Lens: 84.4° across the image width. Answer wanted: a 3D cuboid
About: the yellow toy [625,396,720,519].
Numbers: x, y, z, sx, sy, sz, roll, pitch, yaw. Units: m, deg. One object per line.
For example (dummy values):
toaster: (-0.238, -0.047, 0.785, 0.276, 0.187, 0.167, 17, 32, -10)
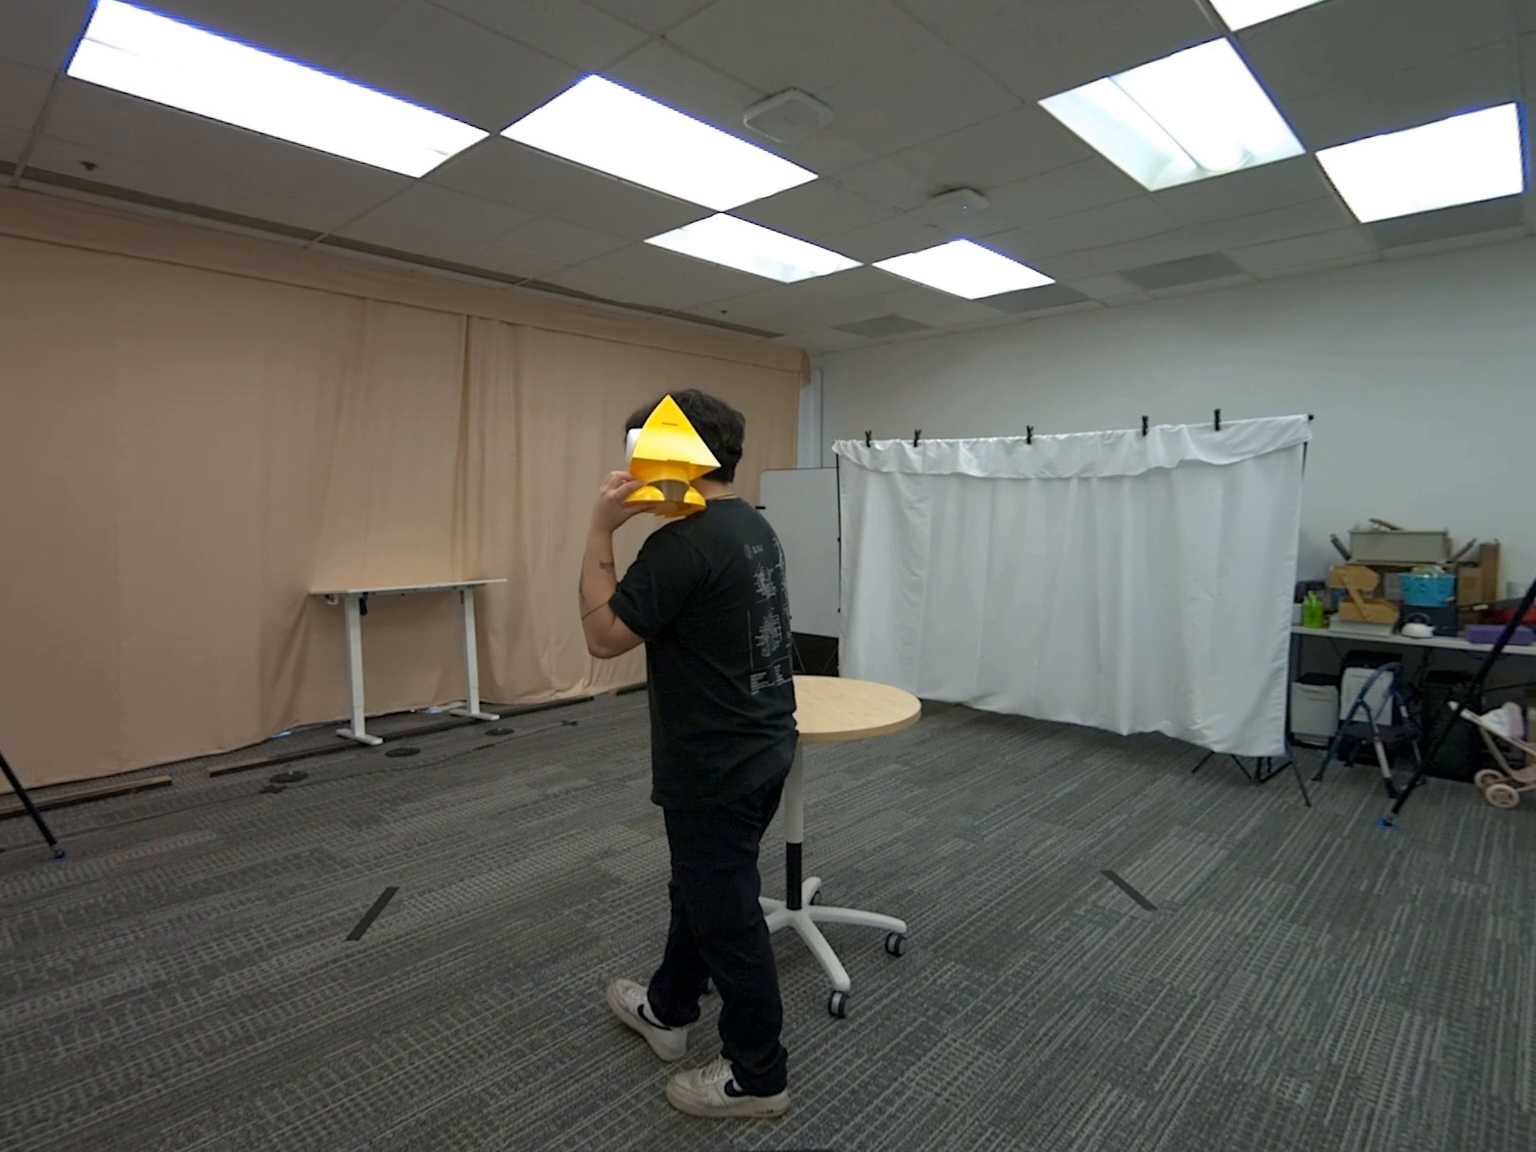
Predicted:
yellow toy: (-0.242, -0.258, 1.797, 0.199, 0.232, 0.198, 3, -9, -34)
